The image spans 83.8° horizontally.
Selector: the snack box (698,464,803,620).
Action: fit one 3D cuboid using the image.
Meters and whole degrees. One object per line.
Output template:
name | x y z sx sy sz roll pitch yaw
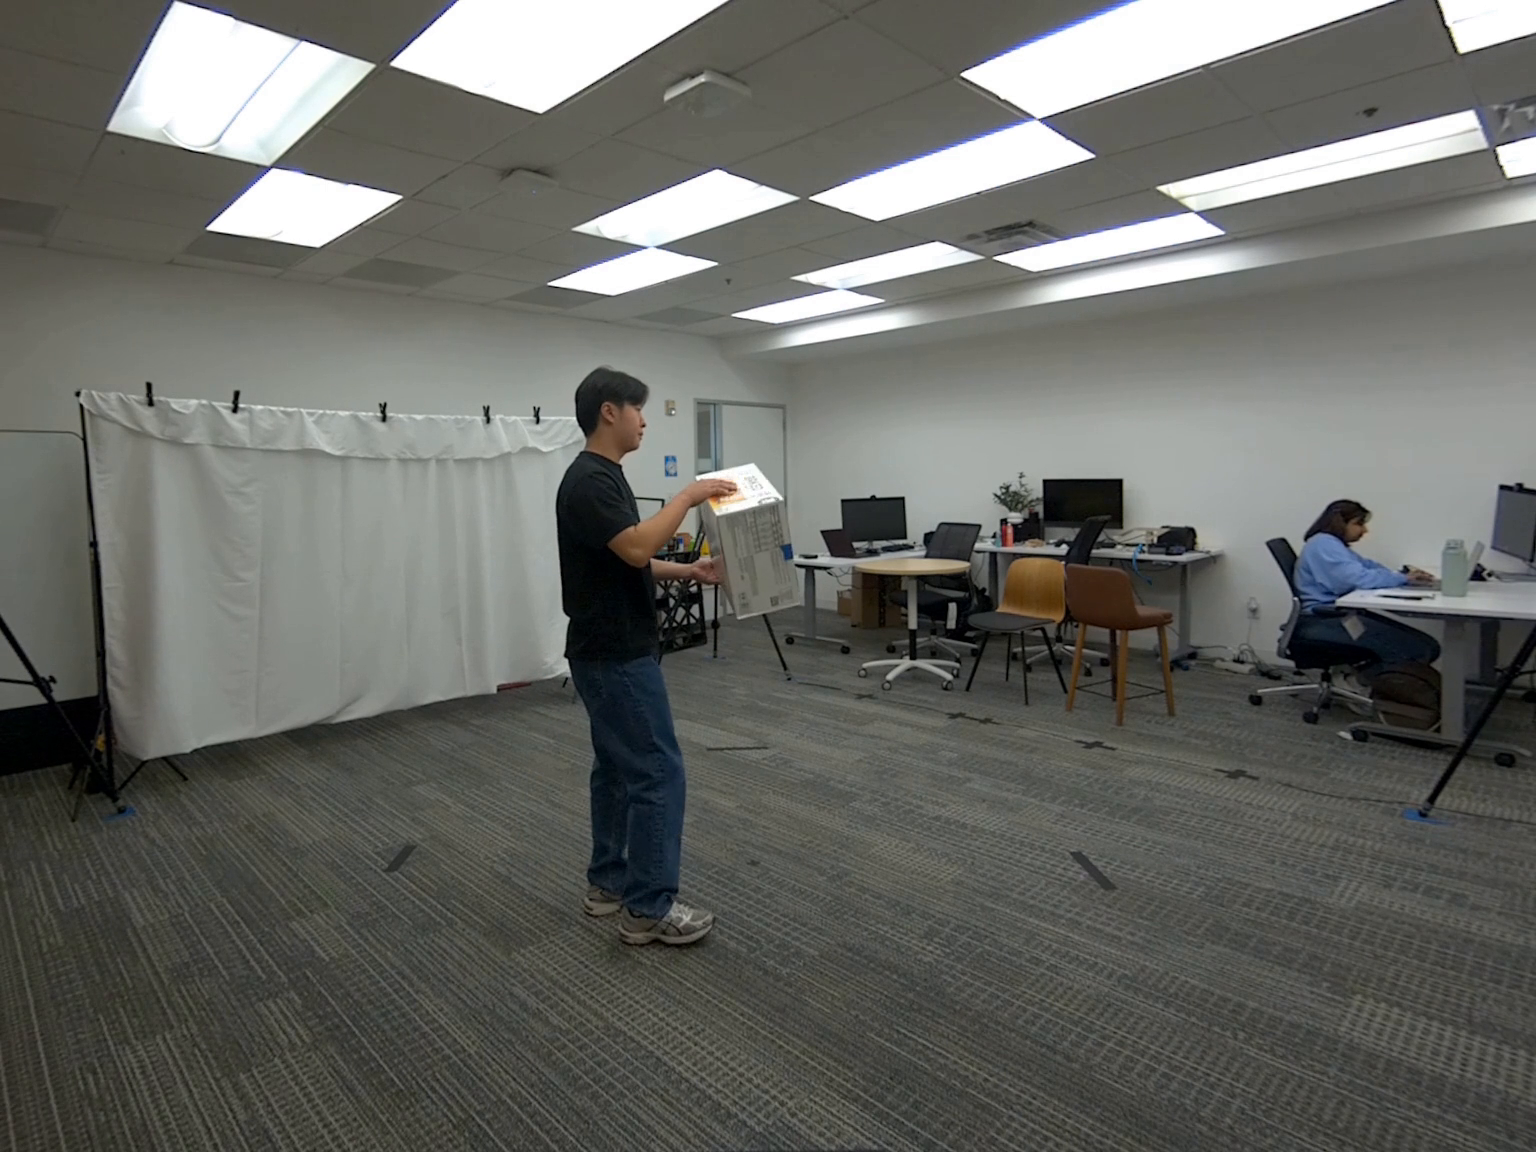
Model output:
snack box | -0.069 -0.116 2.679 0.205 0.333 0.416 -14 24 -7
